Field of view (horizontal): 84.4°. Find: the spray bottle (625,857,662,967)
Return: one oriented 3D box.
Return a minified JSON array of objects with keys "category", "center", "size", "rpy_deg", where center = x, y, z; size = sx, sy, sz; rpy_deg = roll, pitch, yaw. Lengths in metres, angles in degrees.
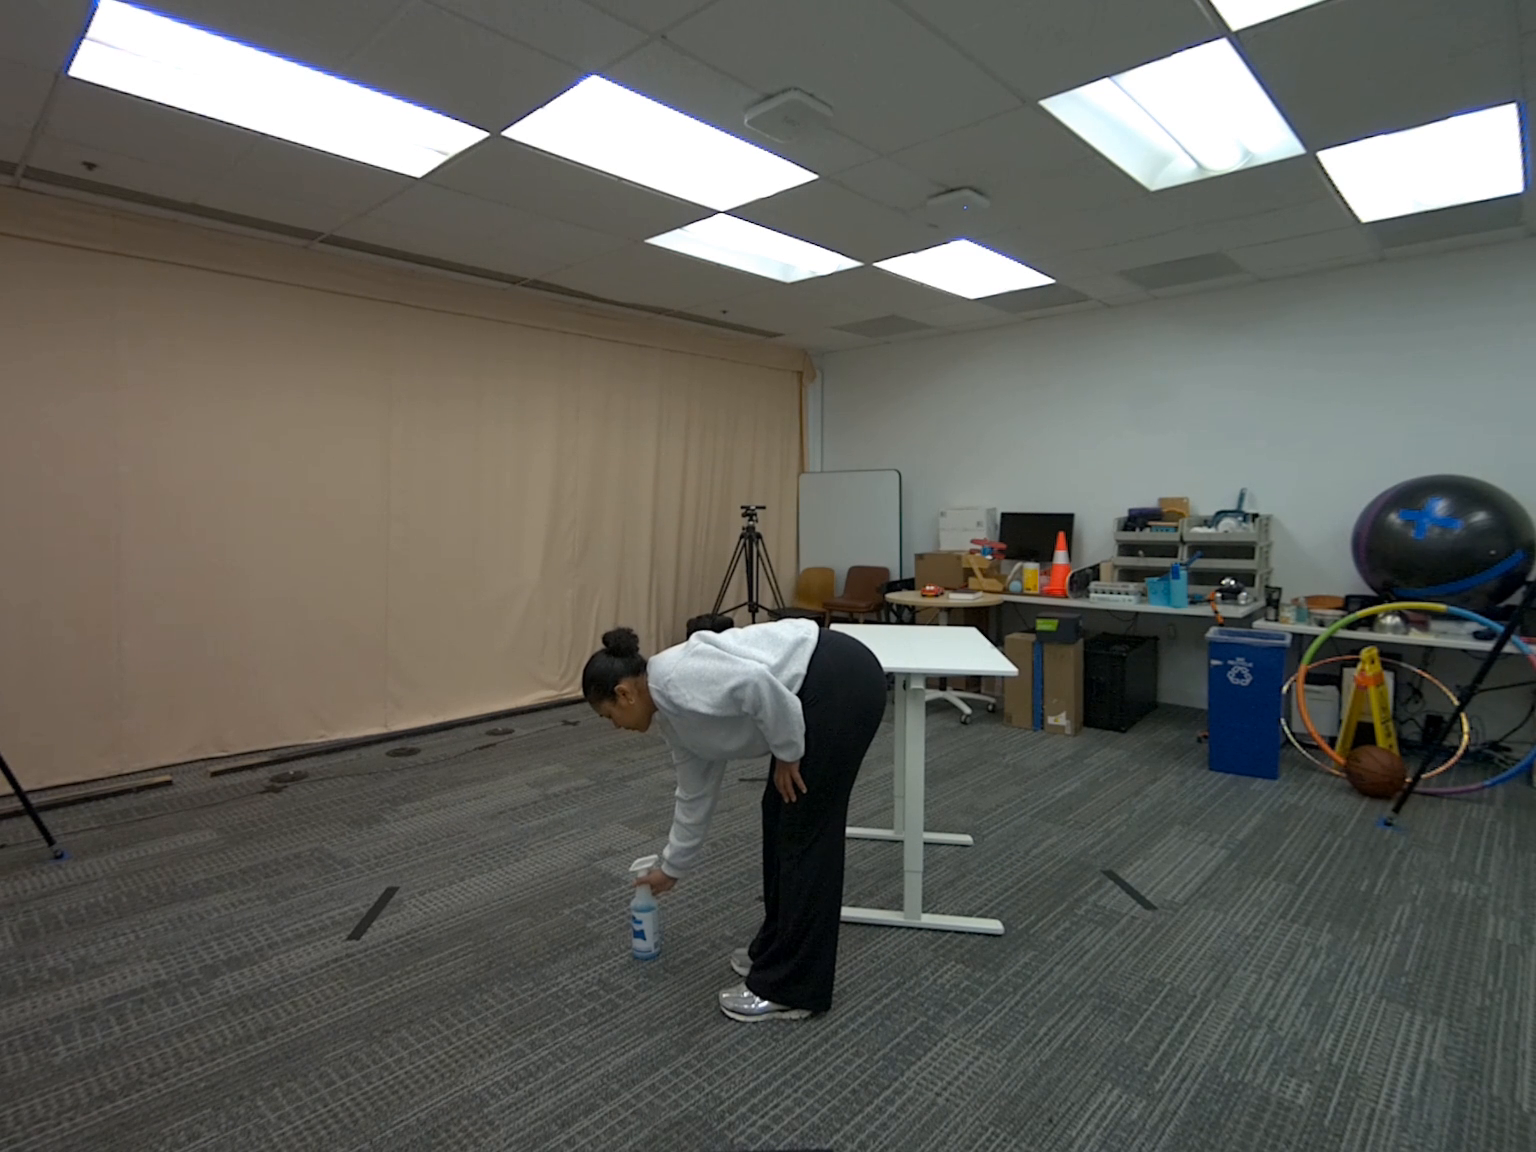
[{"category":"spray bottle","center":[-0.385,1.034,2.615],"size":[0.090,0.297,0.087],"rpy_deg":[-2,0,-1]}]
